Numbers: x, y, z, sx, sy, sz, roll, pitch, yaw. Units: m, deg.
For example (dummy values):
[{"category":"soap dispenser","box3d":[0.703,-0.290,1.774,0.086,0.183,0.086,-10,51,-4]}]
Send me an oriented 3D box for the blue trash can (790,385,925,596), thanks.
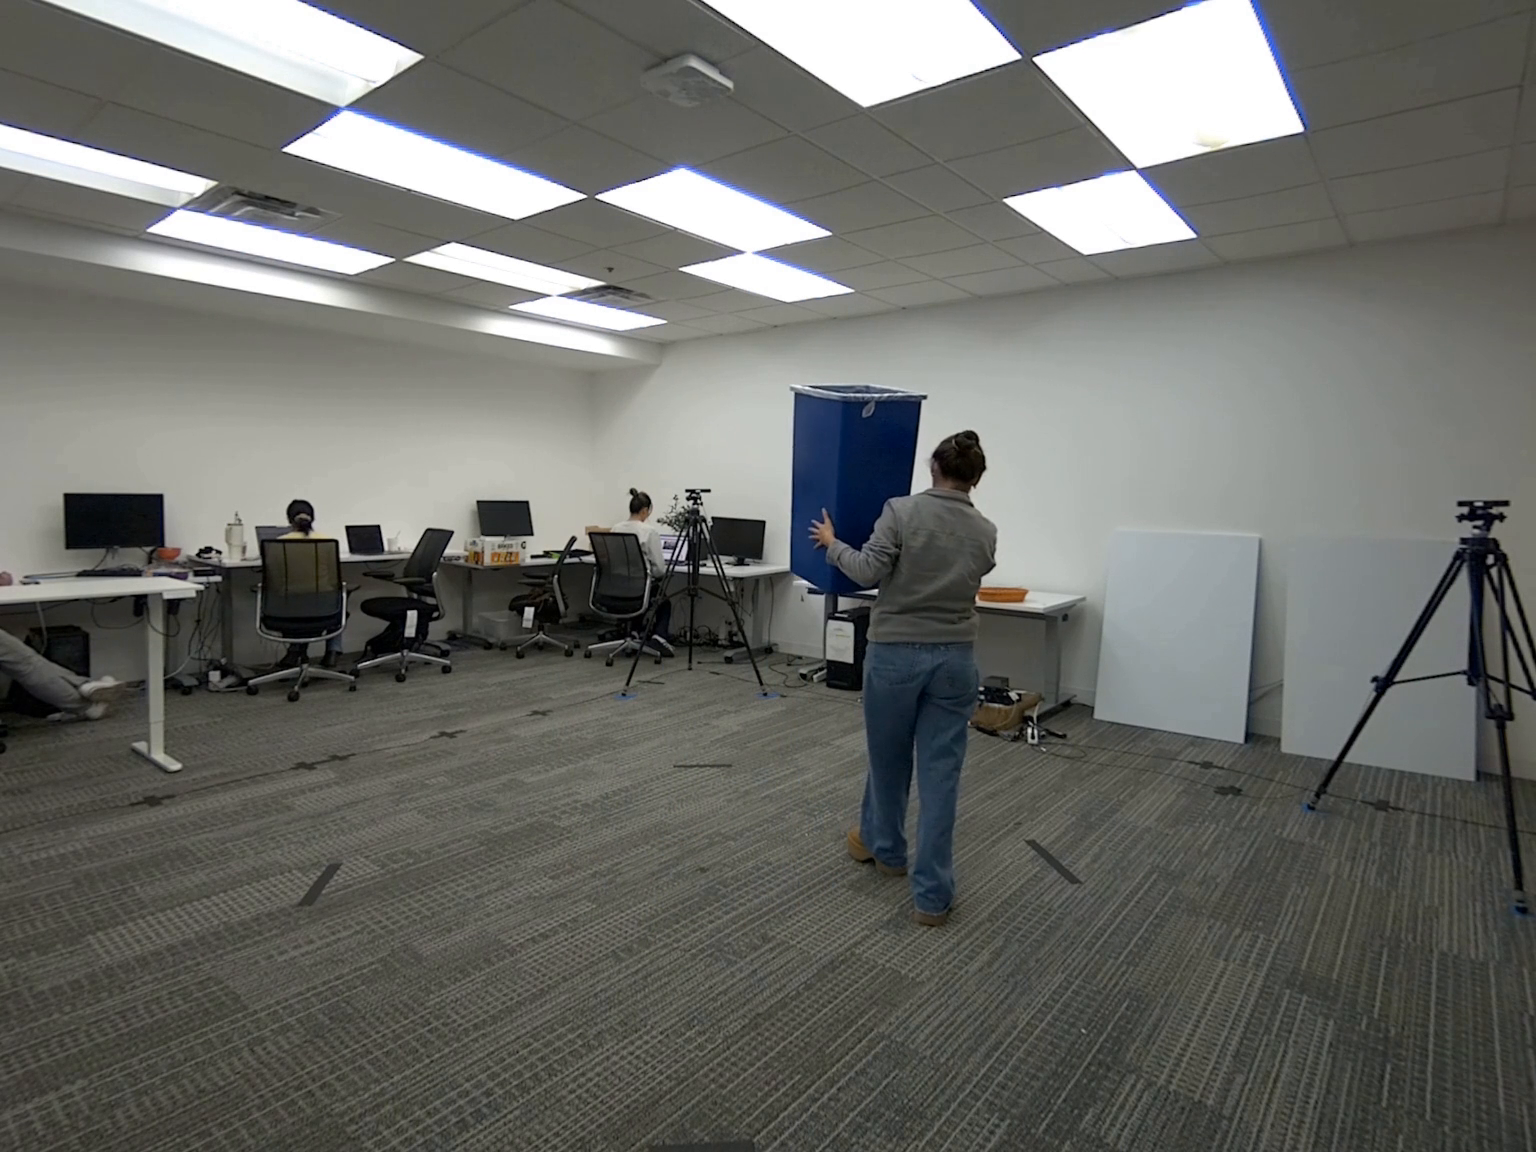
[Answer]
[{"category":"blue trash can","box3d":[0.282,-0.341,3.132,0.369,0.703,0.388,-6,19,-28]}]
